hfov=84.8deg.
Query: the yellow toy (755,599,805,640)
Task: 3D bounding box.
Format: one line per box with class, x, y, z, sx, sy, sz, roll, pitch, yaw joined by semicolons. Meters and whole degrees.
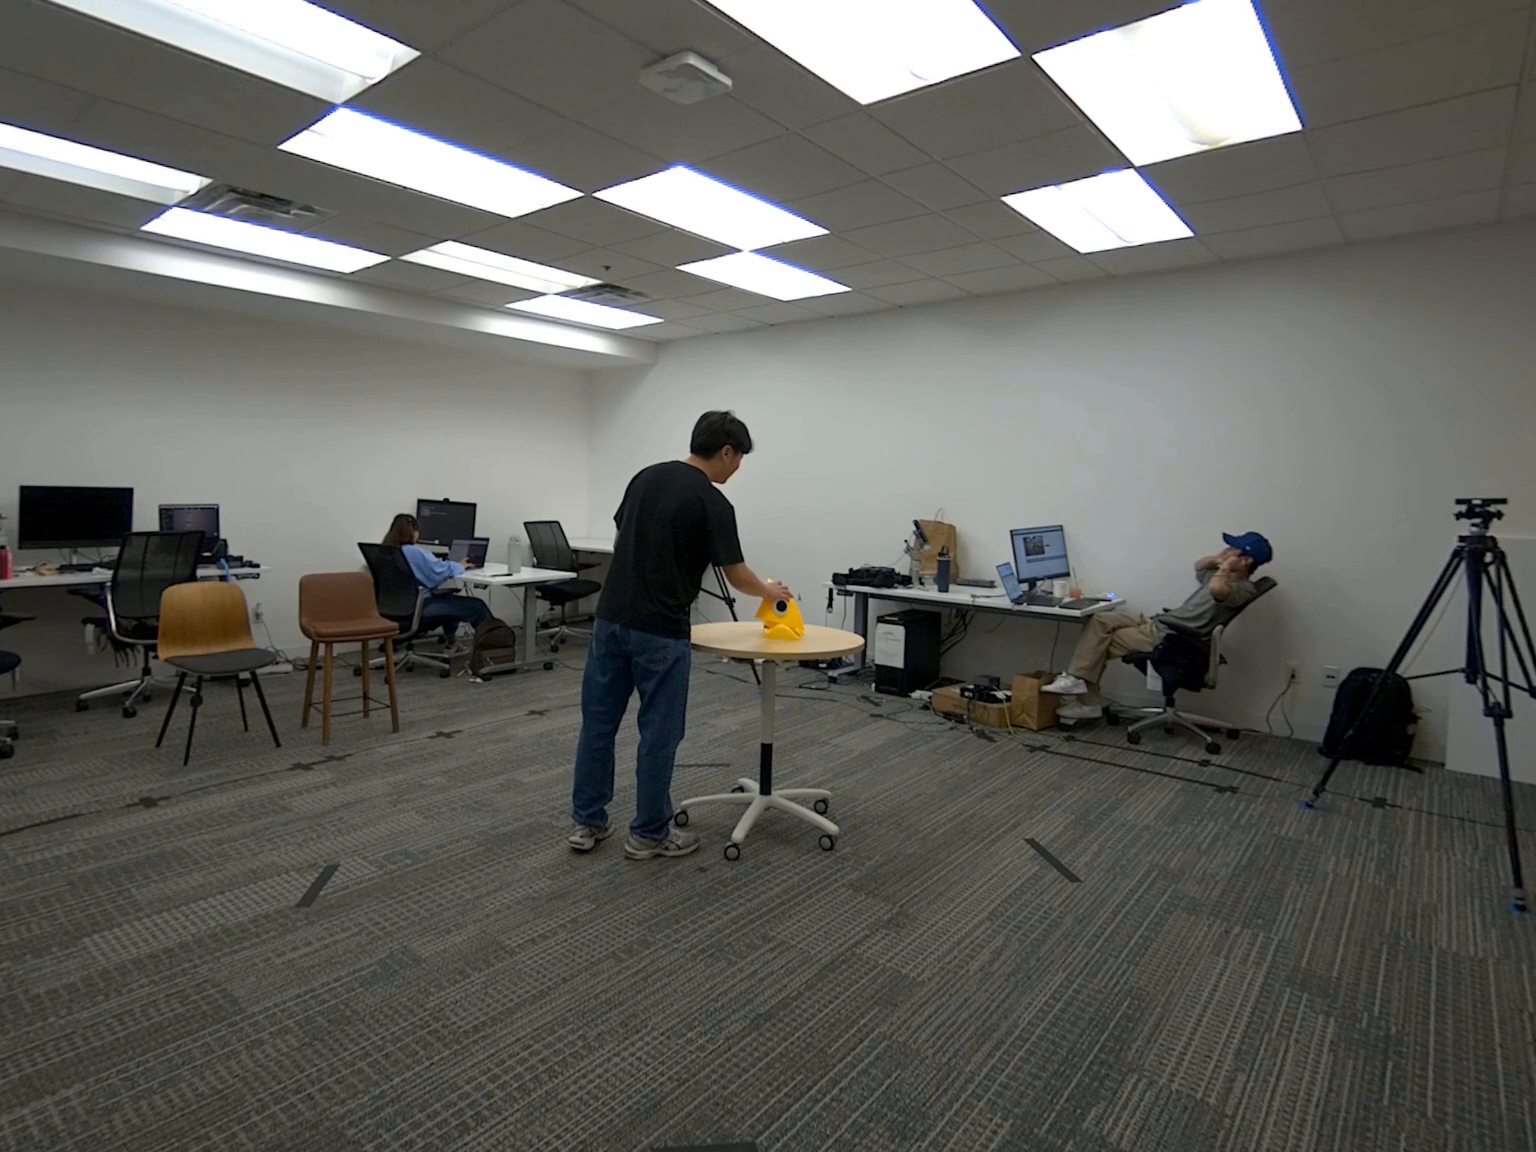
yellow toy;0.048;0.129;3.489;0.196;0.230;0.202;3;4;15
